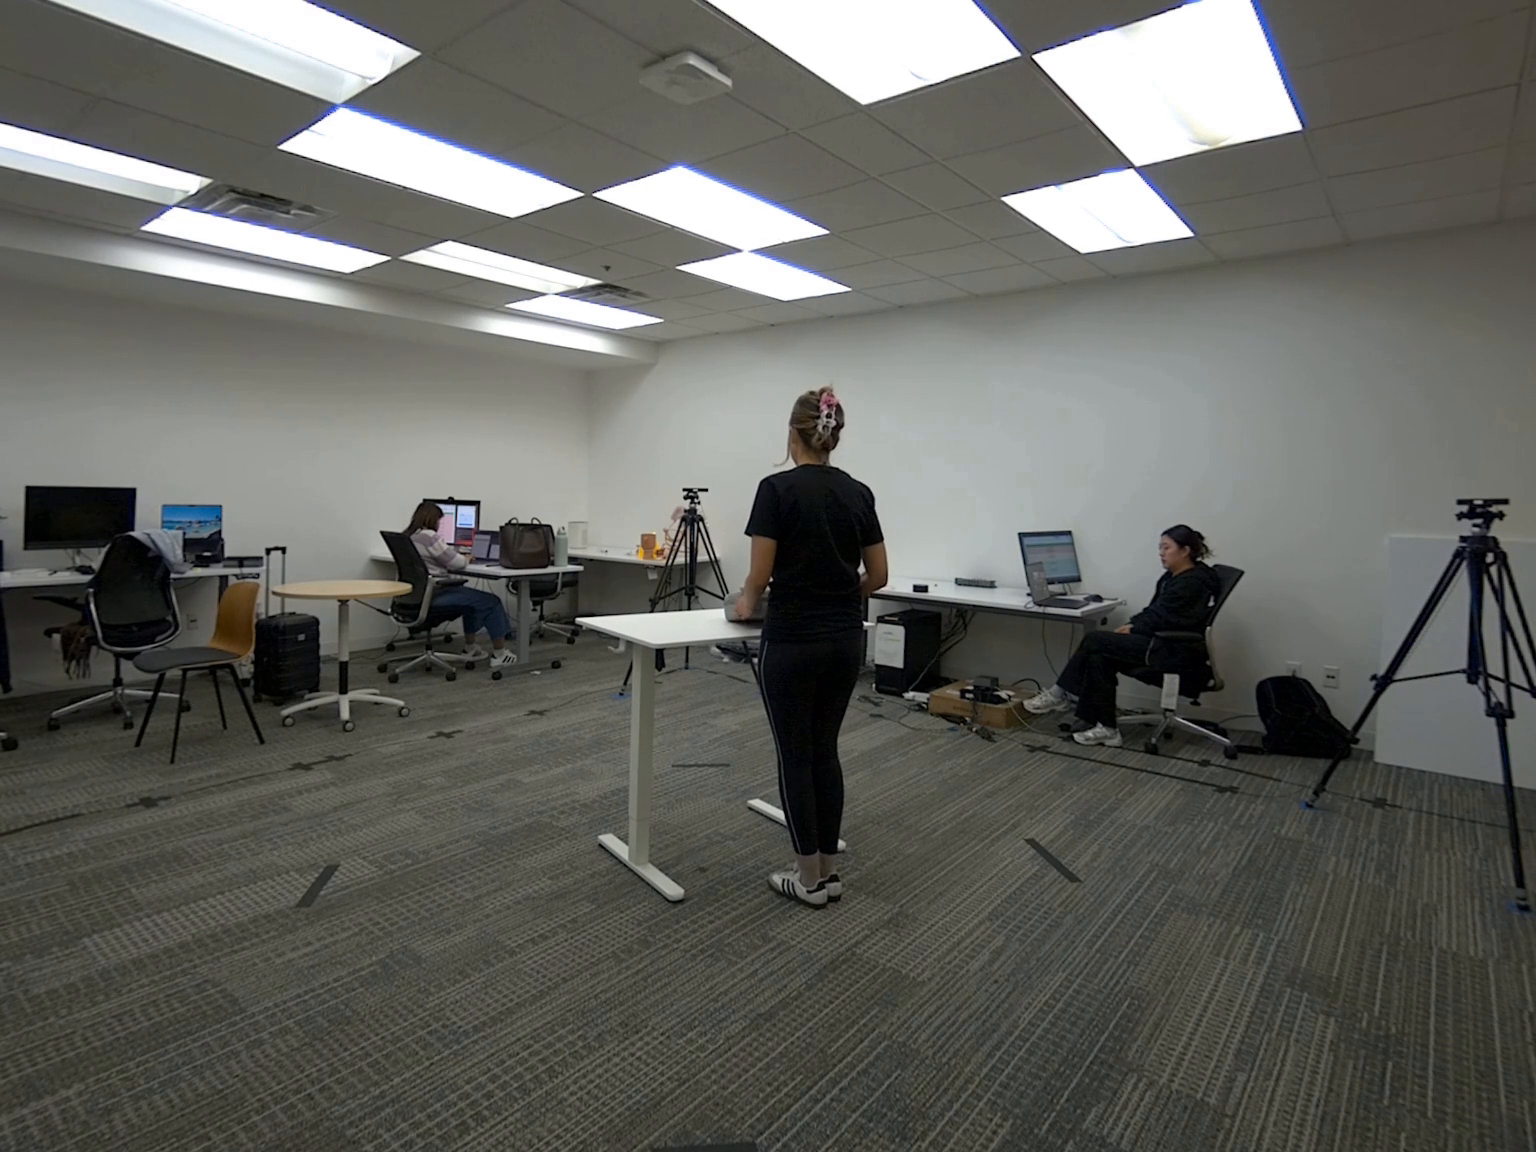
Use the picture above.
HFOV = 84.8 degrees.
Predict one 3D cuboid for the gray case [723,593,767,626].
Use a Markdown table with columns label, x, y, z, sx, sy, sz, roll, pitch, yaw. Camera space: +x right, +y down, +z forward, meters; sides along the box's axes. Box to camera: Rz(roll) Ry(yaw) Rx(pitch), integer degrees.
| label | x | y | z | sx | sy | sz | roll | pitch | yaw |
| --- | --- | --- | --- | --- | --- | --- | --- | --- | --- |
| gray case | -0.031 | 0.108 | 3.233 | 0.254 | 0.105 | 0.262 | -1 | -6 | -13 |
